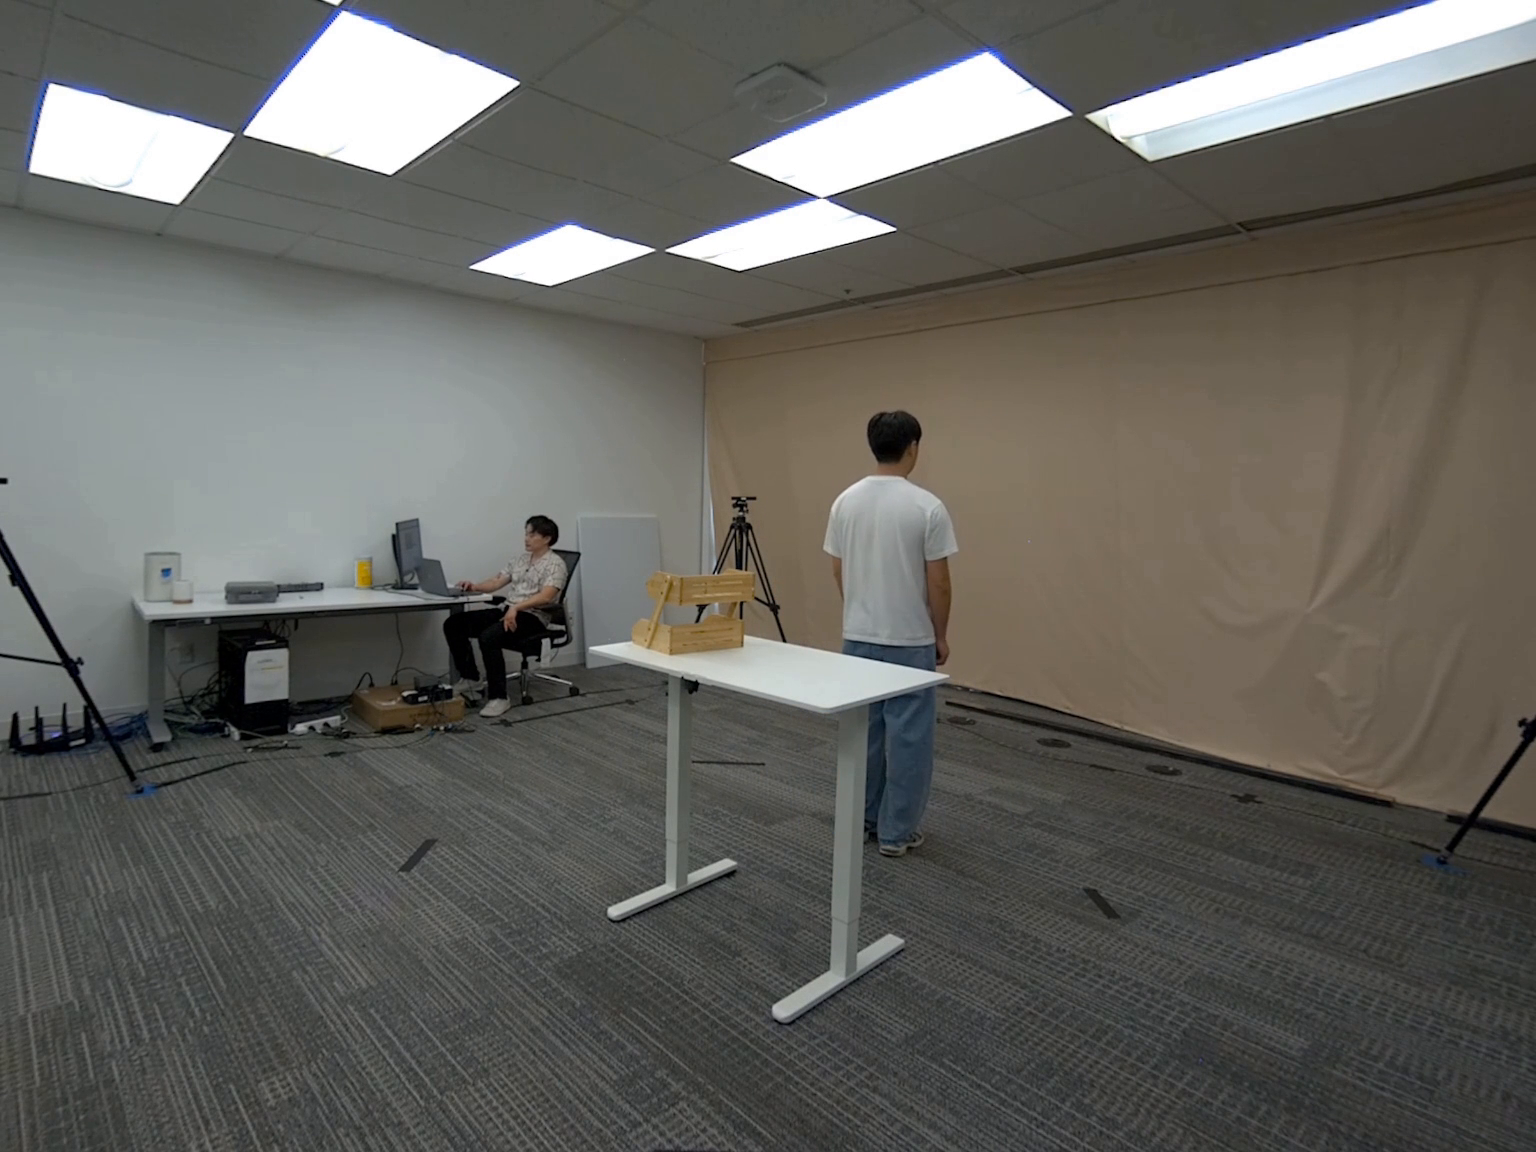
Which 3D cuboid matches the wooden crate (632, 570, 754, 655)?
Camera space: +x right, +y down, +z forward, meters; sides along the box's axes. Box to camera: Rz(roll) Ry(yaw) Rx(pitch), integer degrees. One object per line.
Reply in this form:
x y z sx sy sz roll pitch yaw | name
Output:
-0.262 0.108 2.855 0.317 0.272 0.310 -2 7 -38 | wooden crate
